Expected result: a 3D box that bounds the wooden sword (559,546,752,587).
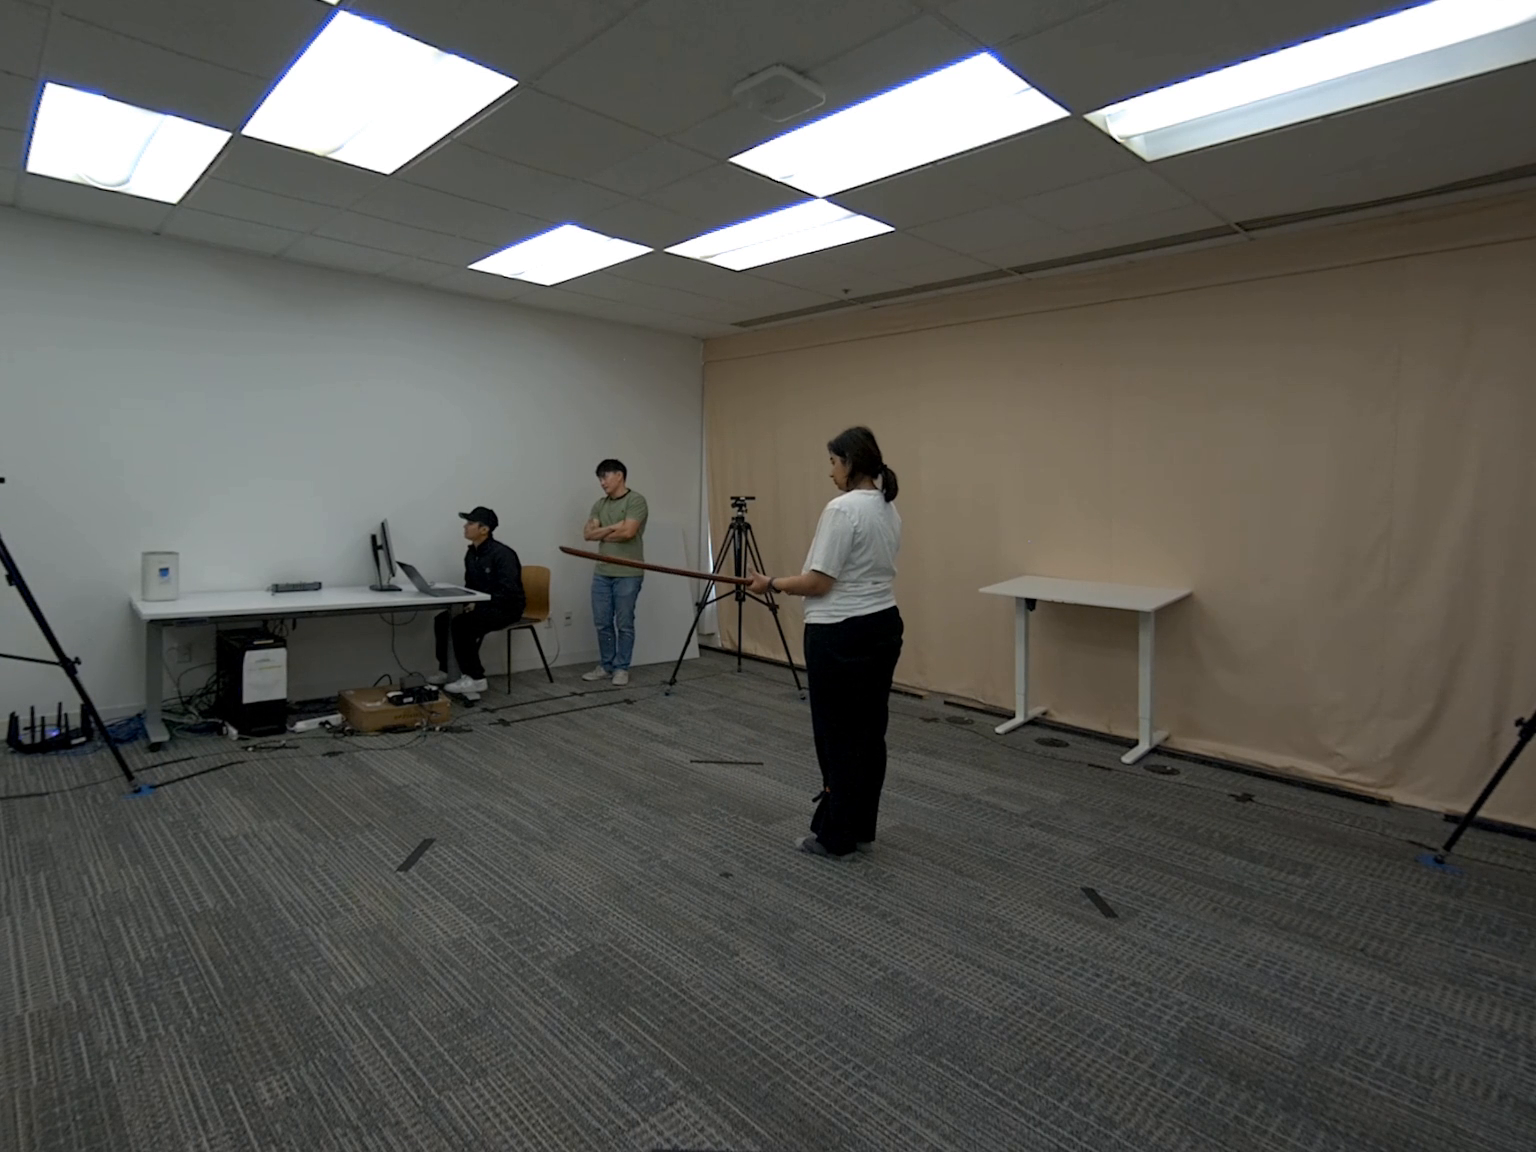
[{"bbox_3d":[-0.325,-0.006,3.333,1.020,0.050,0.024,11,32,-5],"label":"wooden sword"}]
